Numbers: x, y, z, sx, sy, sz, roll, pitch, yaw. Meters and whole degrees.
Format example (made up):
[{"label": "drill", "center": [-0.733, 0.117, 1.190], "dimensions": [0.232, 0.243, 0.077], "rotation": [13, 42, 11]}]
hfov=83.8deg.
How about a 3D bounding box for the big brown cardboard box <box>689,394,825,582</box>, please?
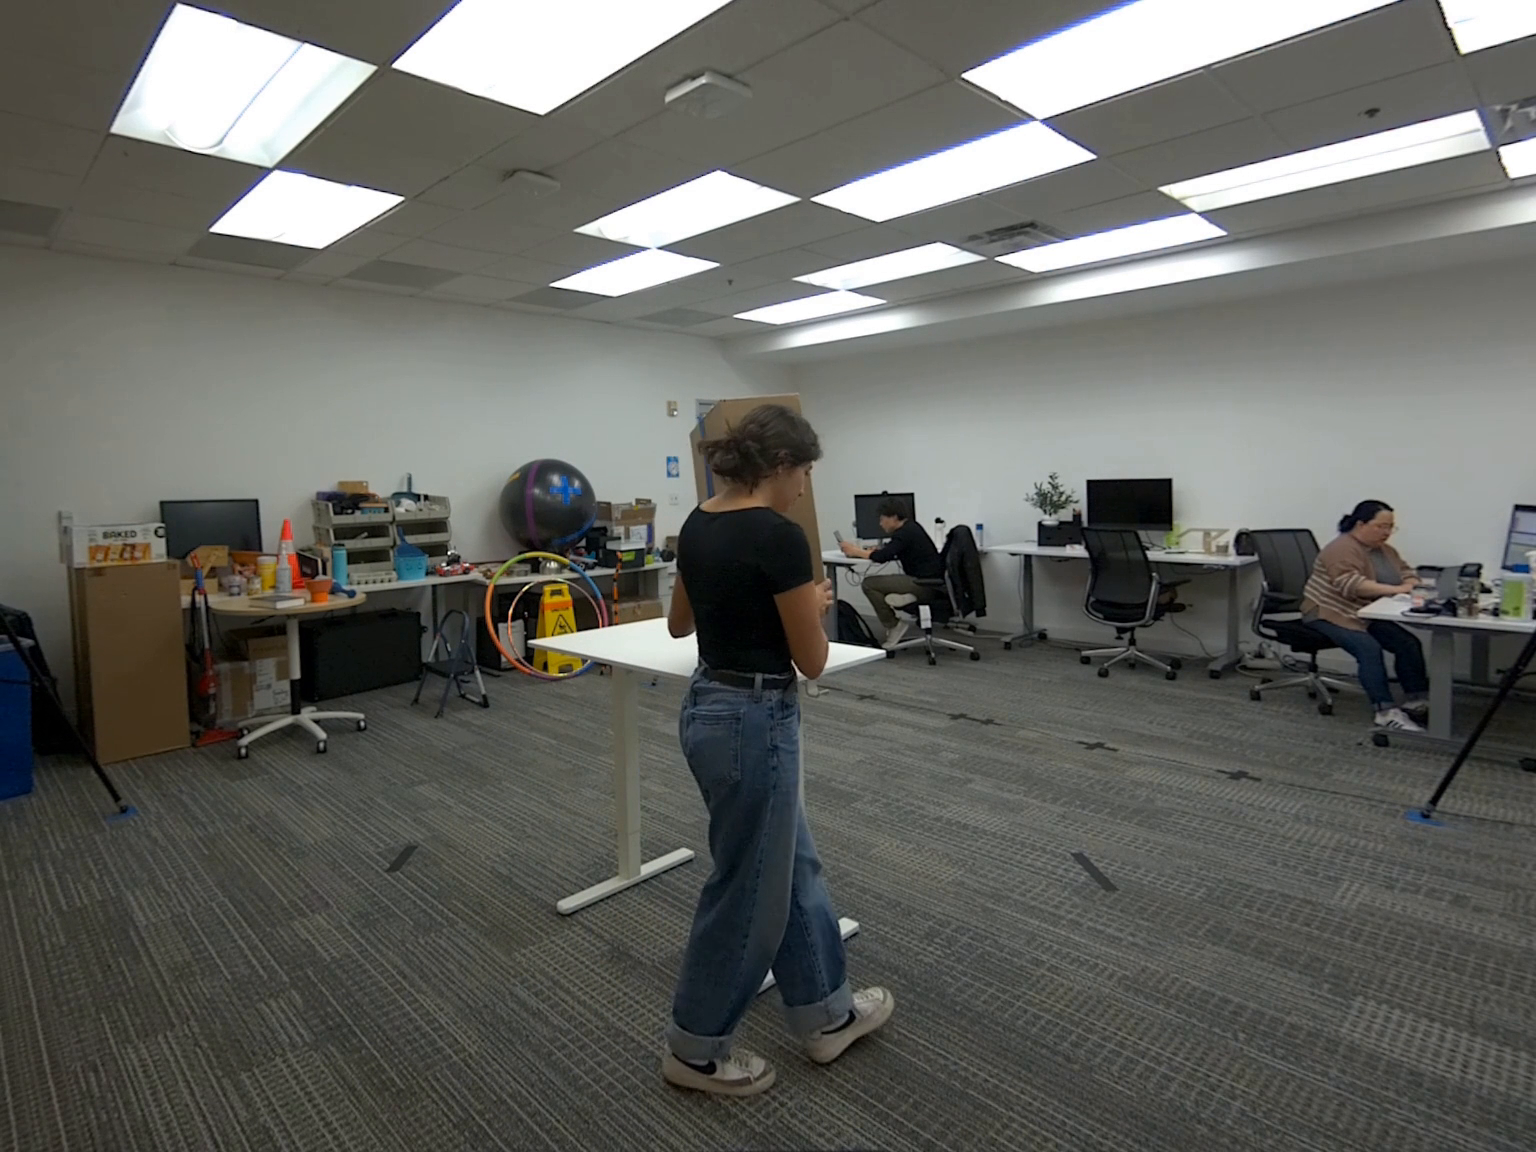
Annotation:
[{"label": "big brown cardboard box", "center": [-0.042, -0.160, 2.328], "dimensions": [0.230, 0.591, 0.420], "rotation": [-5, -4, -13]}]
